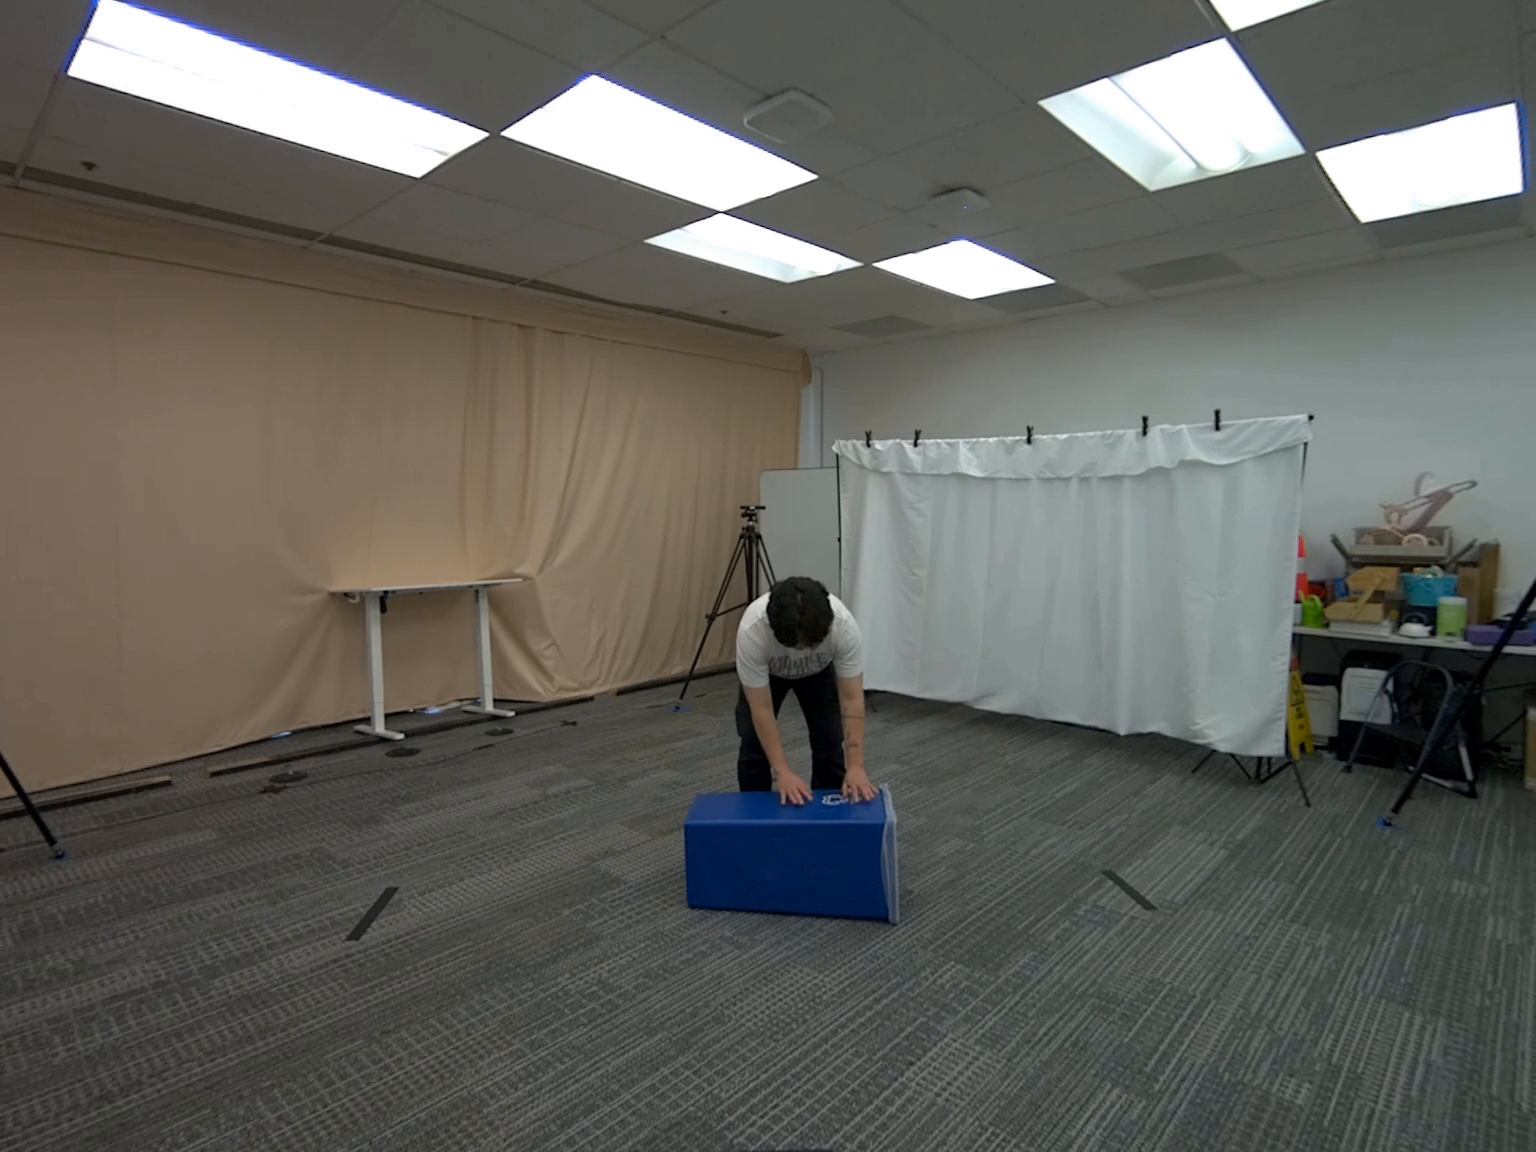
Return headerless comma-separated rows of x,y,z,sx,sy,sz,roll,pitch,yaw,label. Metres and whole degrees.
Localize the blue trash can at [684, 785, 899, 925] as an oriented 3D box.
0.089,0.971,2.992,0.719,0.377,0.372,-2,4,6,blue trash can
